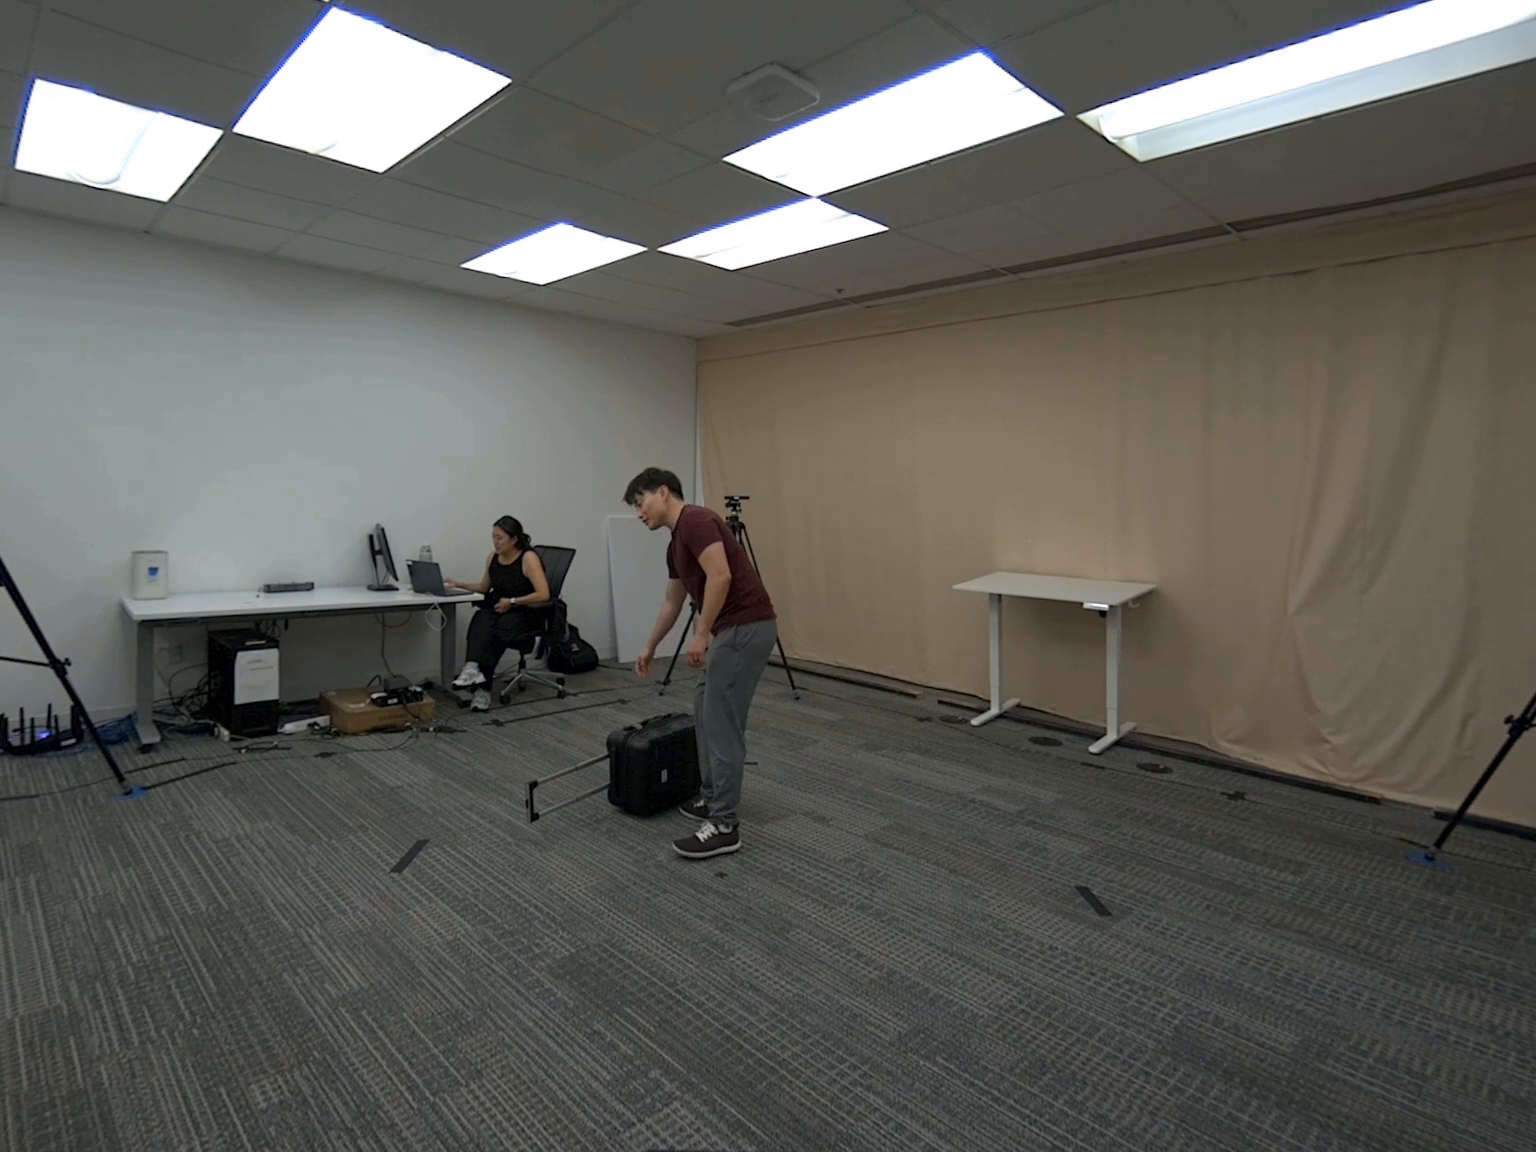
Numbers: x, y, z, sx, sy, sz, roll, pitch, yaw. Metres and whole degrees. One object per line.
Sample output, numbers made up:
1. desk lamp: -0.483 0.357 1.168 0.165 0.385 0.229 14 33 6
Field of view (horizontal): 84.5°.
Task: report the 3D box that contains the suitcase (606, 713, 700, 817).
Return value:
1. suitcase: -0.601 0.855 3.668 0.263 0.383 0.959 2 4 31
